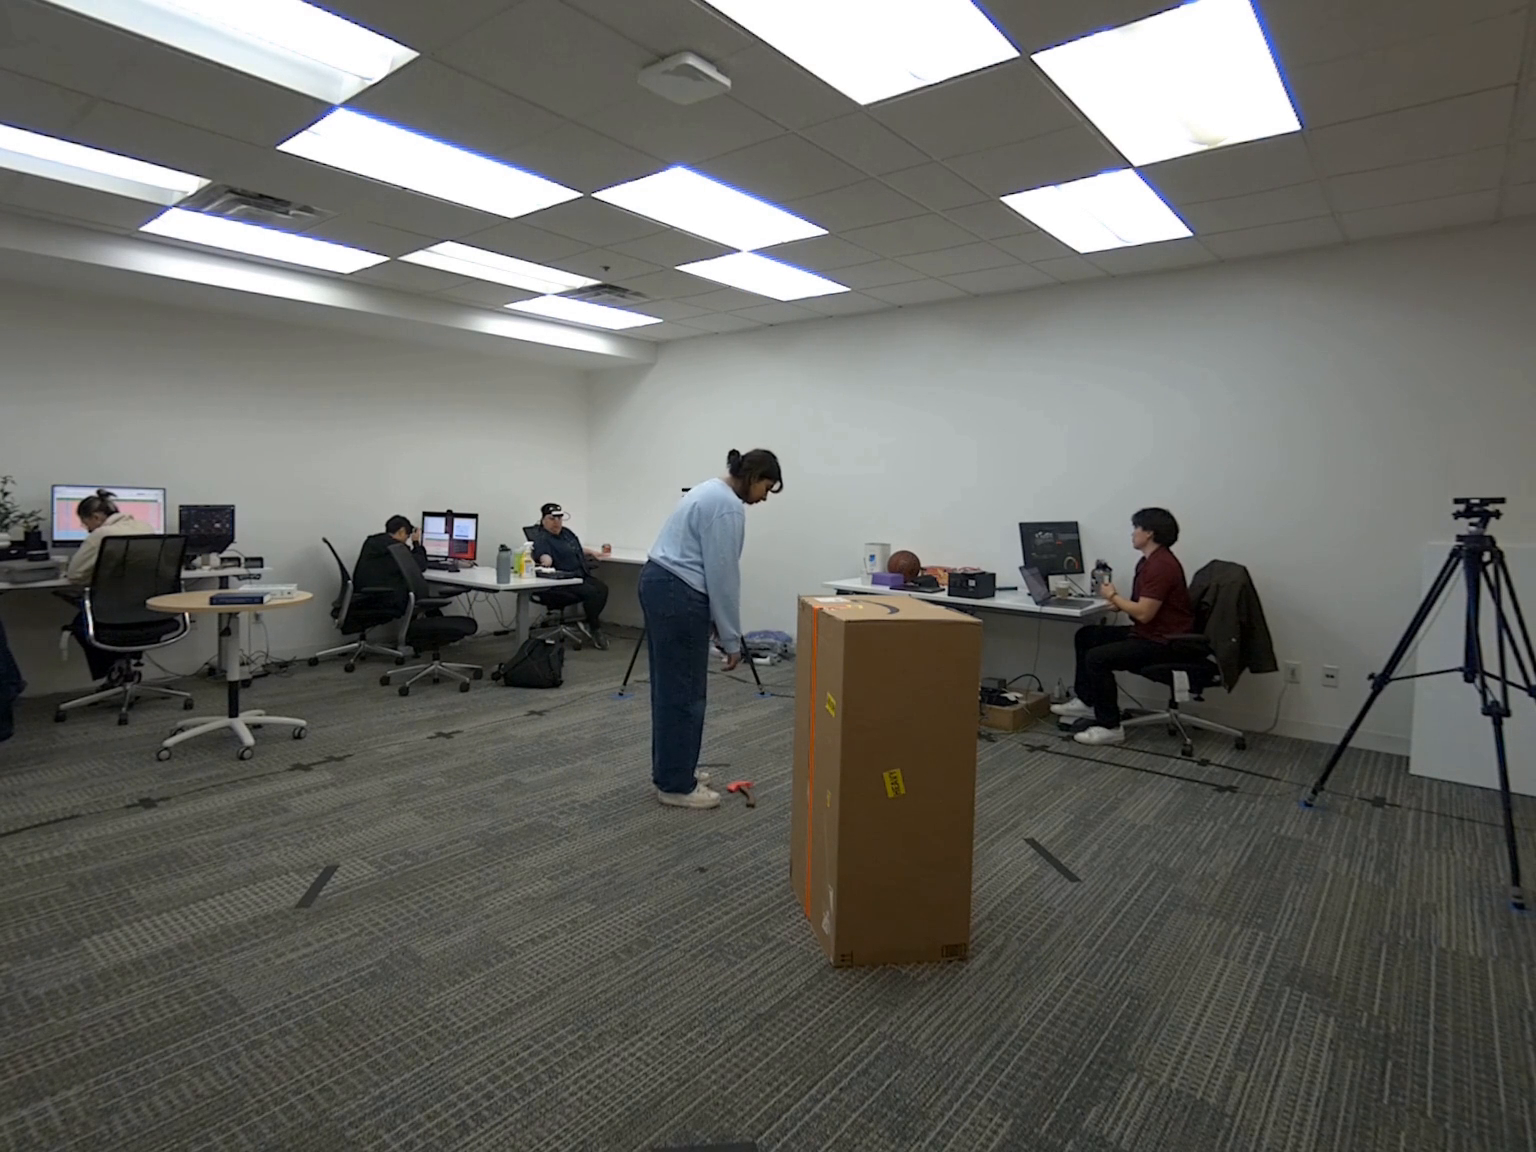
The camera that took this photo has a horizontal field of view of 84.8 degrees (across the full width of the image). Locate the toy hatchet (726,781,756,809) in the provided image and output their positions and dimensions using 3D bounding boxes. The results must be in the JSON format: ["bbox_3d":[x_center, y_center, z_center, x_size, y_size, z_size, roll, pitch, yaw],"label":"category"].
[{"bbox_3d":[-0.135,0.988,3.859,0.131,0.029,0.271,3,7,-2],"label":"toy hatchet"}]
